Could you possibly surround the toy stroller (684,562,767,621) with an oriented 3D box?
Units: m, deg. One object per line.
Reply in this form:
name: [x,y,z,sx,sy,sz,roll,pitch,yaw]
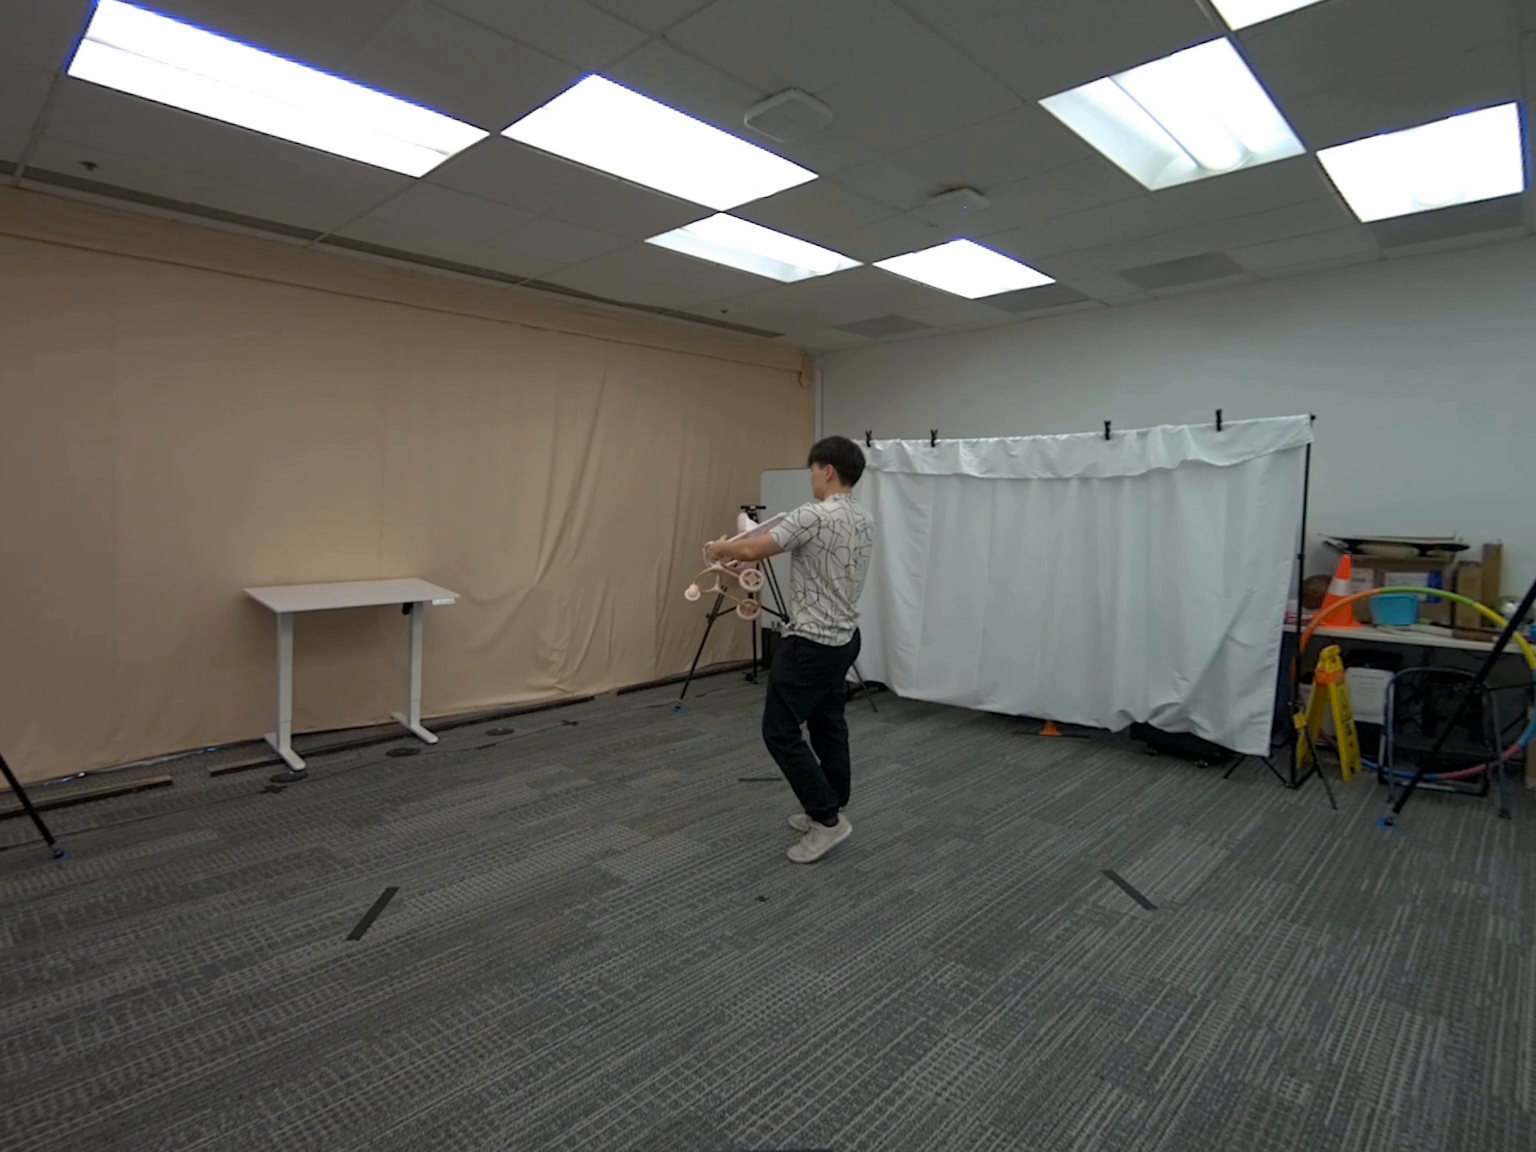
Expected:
toy stroller: [-0.135,-0.067,3.775,0.347,0.537,0.276,14,-31,12]
